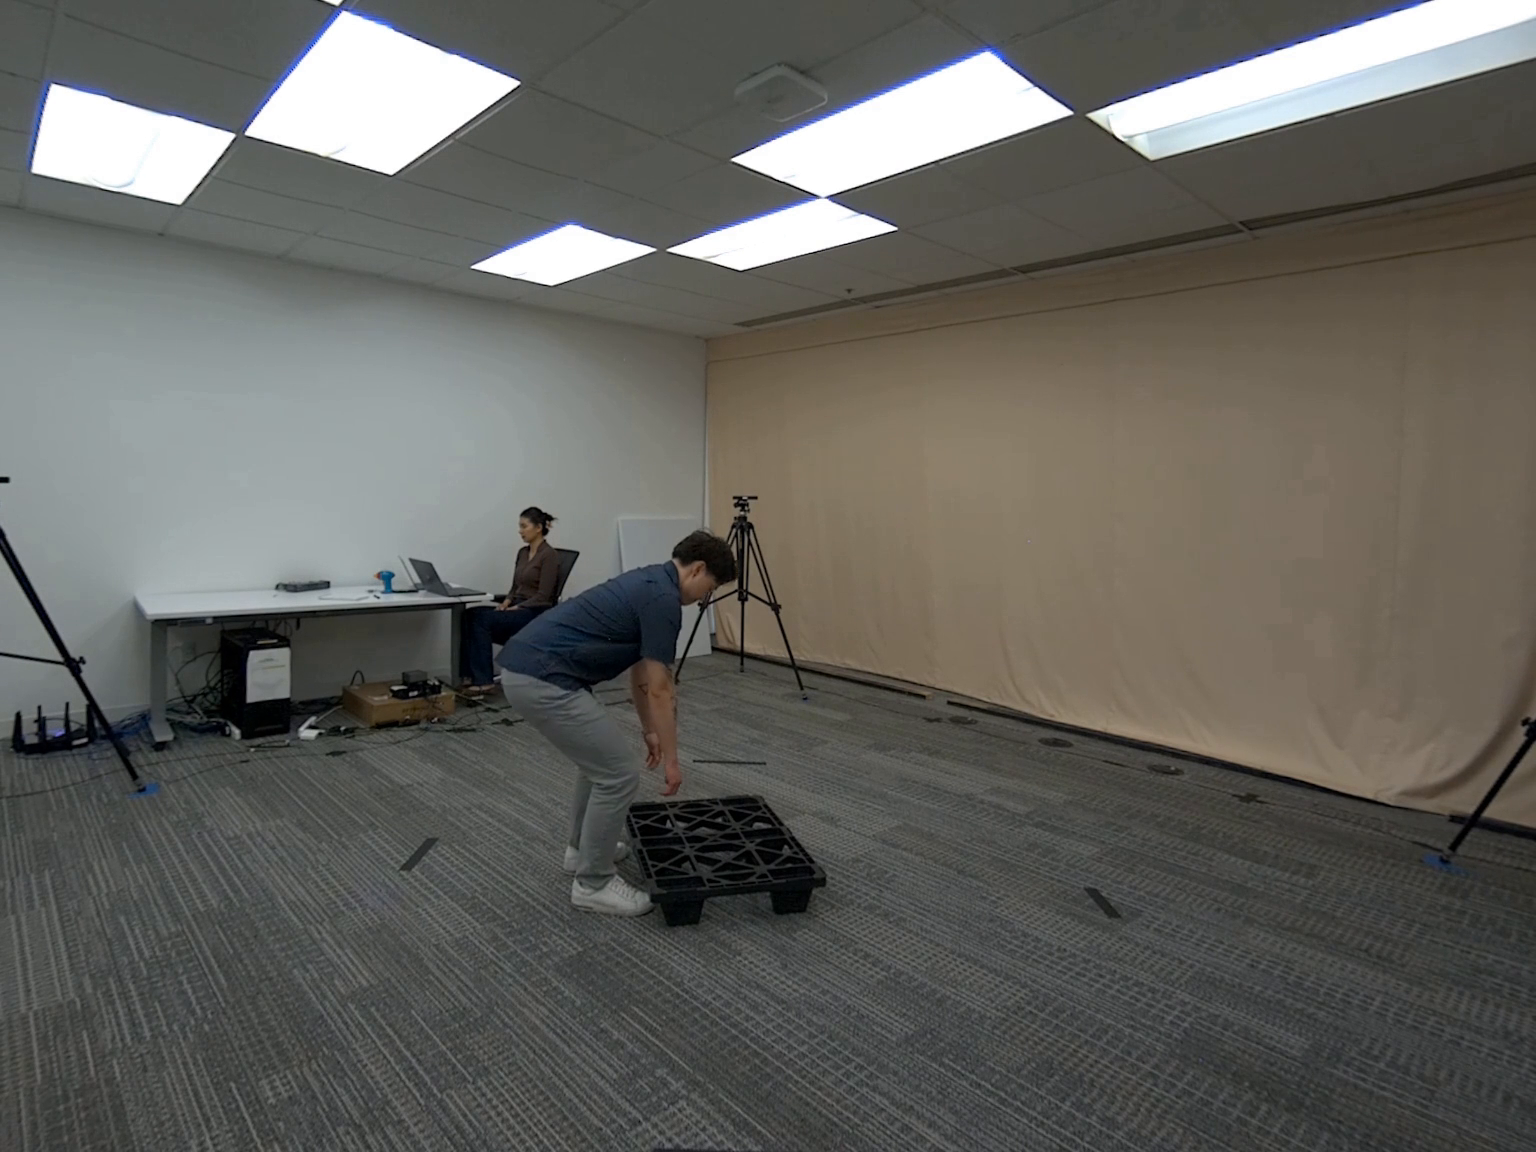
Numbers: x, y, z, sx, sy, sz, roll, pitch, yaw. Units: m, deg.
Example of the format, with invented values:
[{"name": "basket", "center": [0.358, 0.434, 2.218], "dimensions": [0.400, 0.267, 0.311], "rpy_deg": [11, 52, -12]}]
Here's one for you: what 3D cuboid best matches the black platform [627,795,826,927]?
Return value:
[{"name": "black platform", "center": [-0.204, 1.032, 3.125], "dimensions": [0.598, 0.143, 0.818], "rpy_deg": [0, 6, -16]}]
